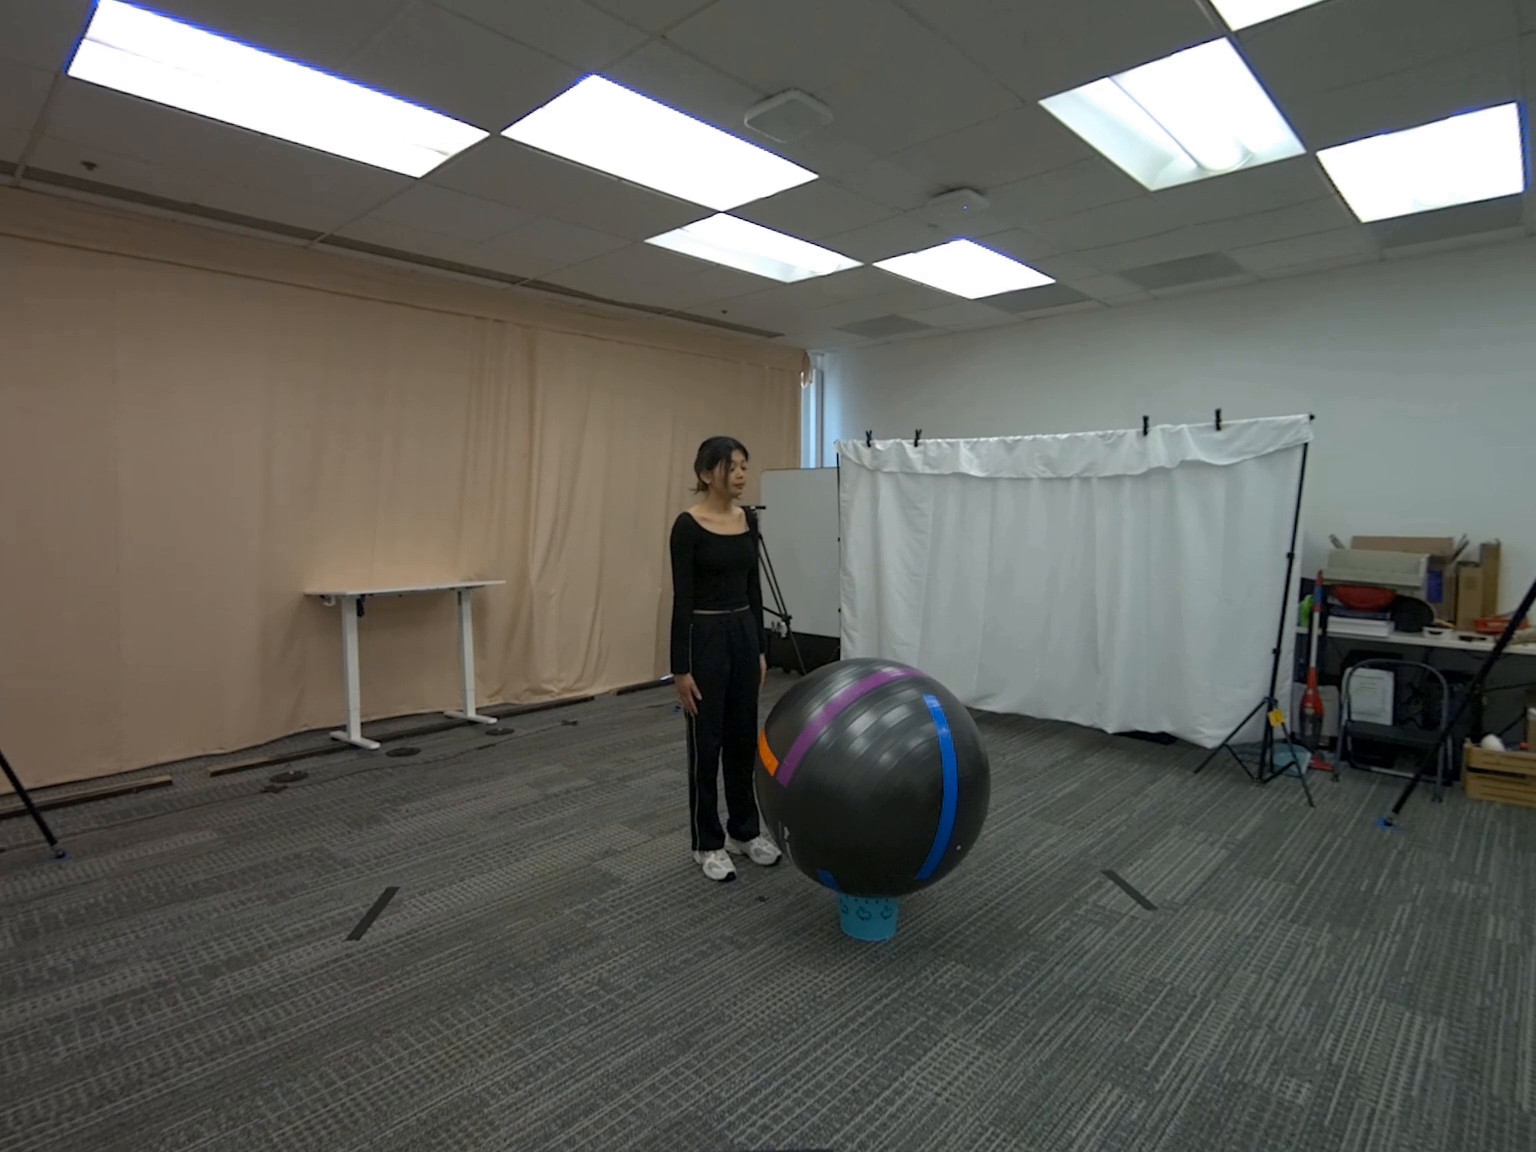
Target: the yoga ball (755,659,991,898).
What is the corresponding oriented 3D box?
[{"bbox_3d":[0.341,0.656,2.760,0.757,0.756,0.760,0,4,-2],"label":"yoga ball"}]
